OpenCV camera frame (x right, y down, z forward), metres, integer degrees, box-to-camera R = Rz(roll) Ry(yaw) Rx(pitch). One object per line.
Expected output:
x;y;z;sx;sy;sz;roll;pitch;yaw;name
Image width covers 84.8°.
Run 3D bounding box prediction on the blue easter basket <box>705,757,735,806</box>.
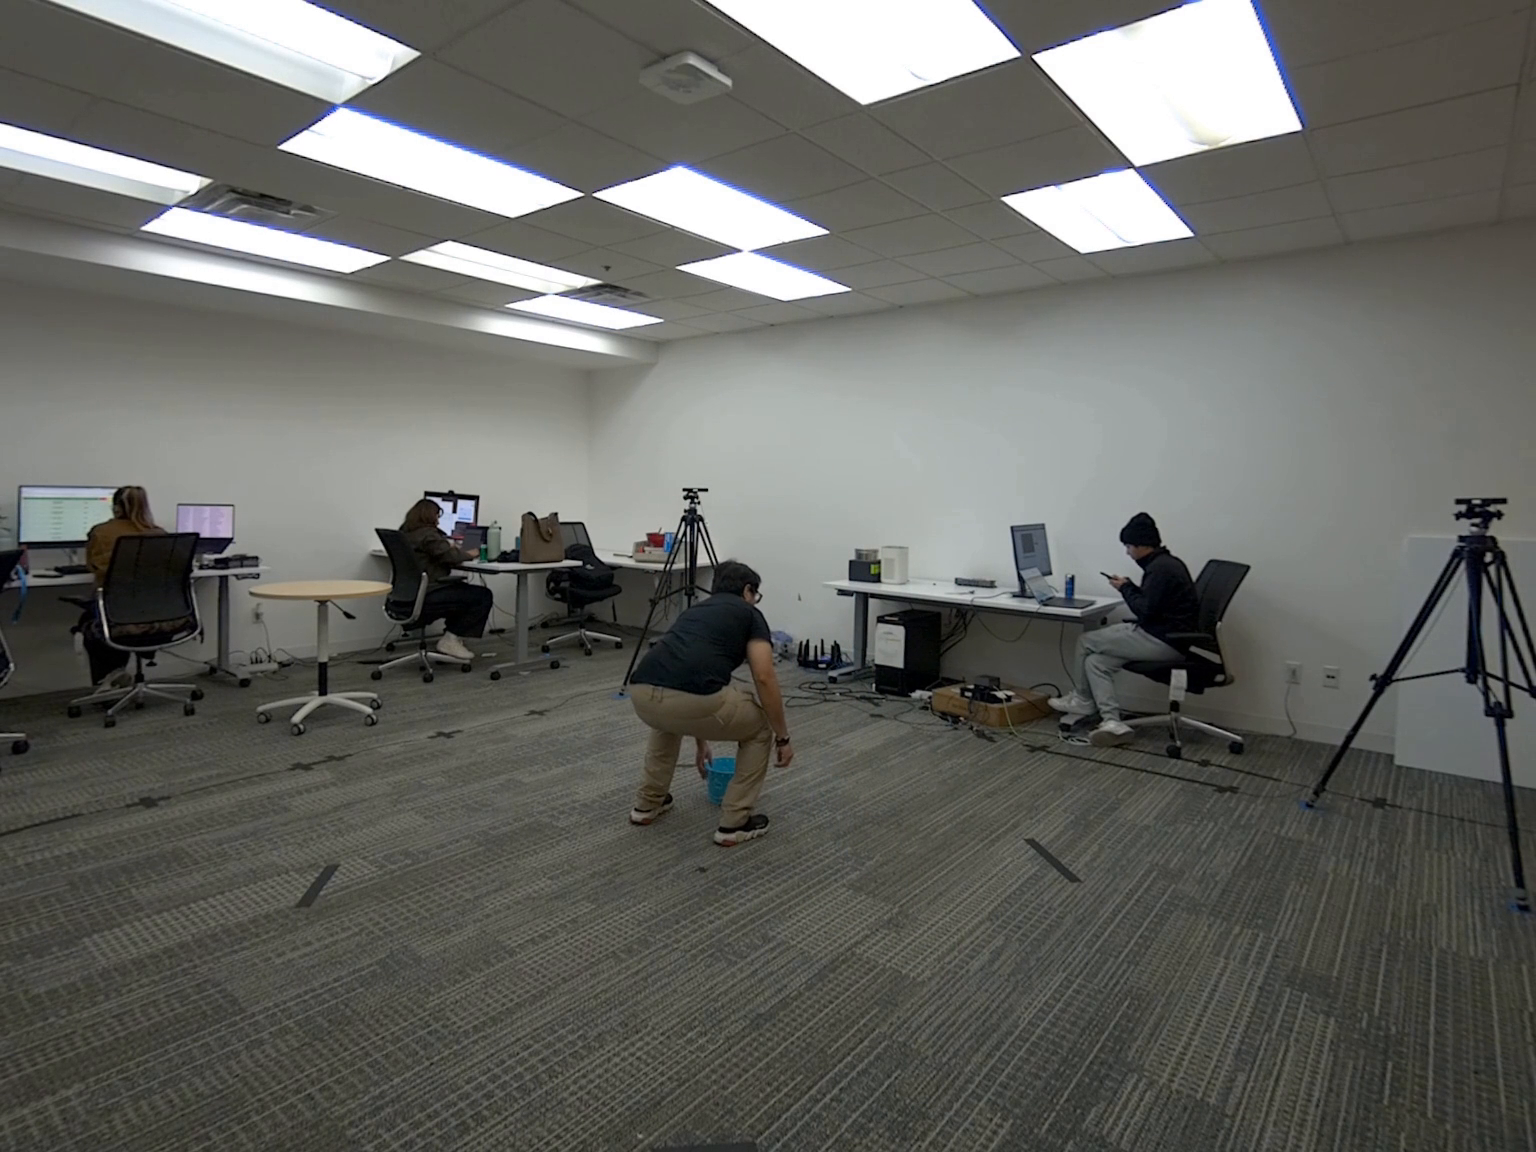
-0.198;0.919;3.840;0.243;0.155;0.245;2;7;-2;blue easter basket
